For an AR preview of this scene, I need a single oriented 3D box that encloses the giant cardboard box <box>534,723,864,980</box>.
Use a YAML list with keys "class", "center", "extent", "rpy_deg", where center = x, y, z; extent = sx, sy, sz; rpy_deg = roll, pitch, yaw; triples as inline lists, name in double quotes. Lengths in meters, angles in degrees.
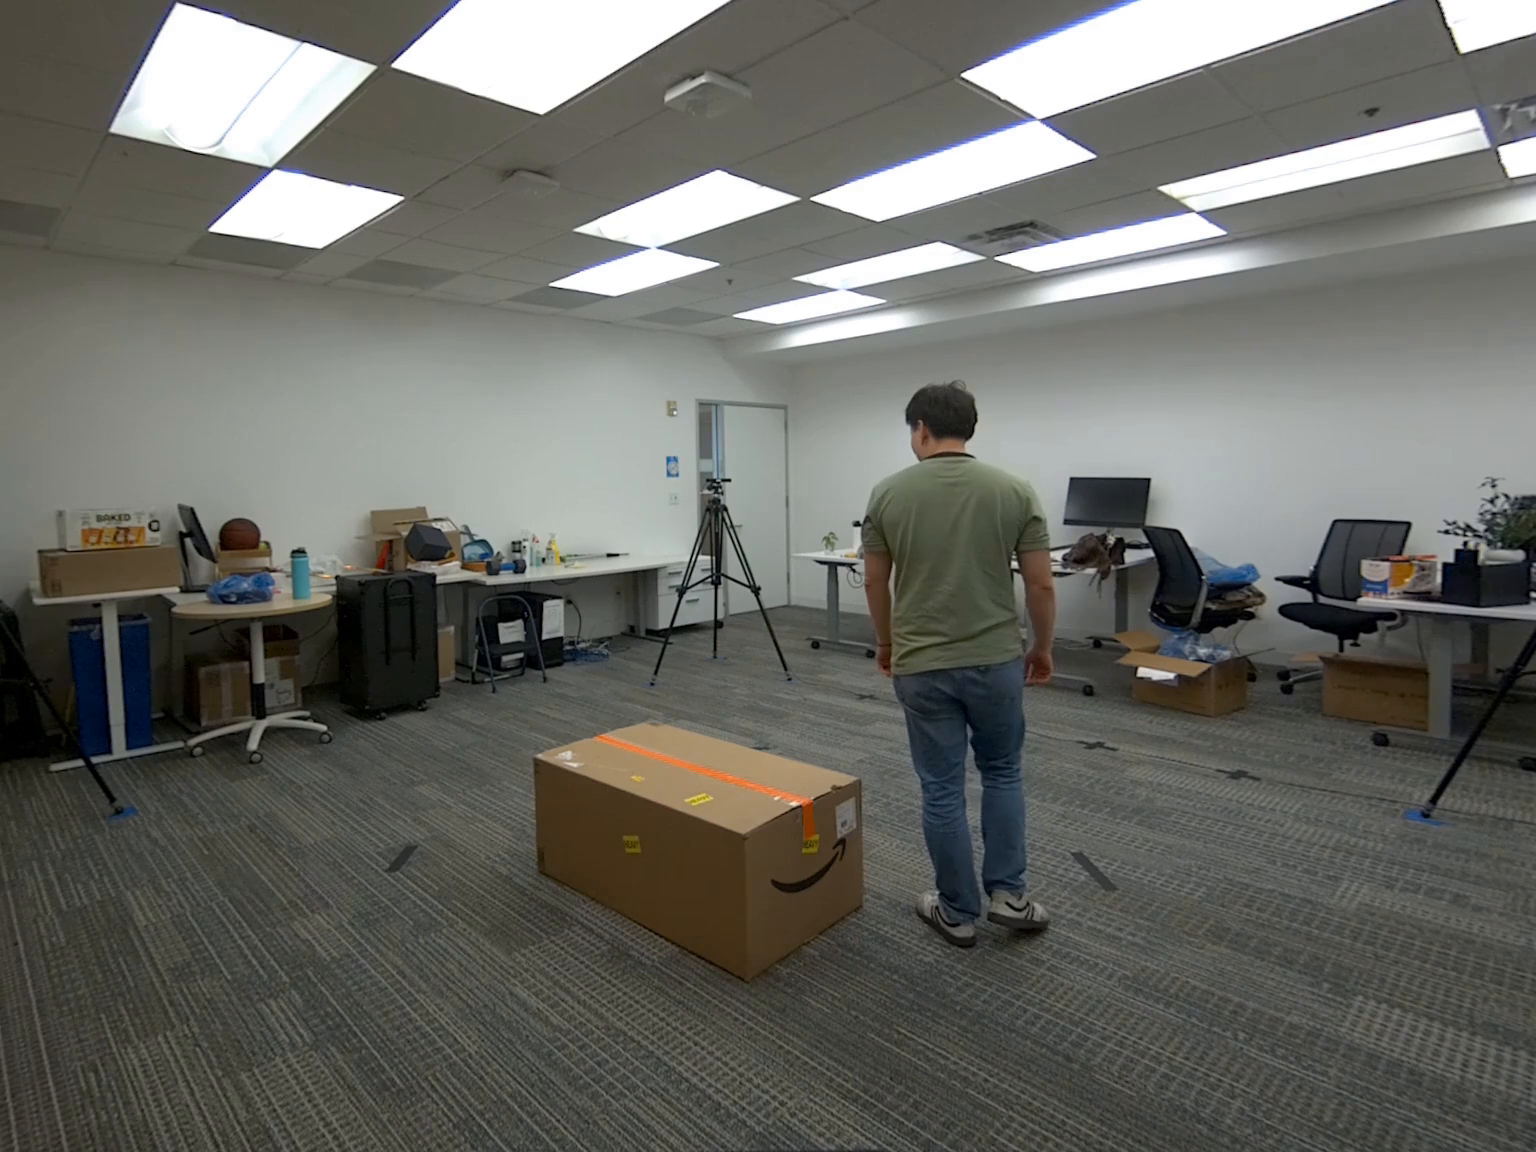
- class: "giant cardboard box"
  center: [-0.262, 0.855, 2.918]
  extent: [1.058, 0.424, 0.563]
  rpy_deg: [5, 9, 42]
